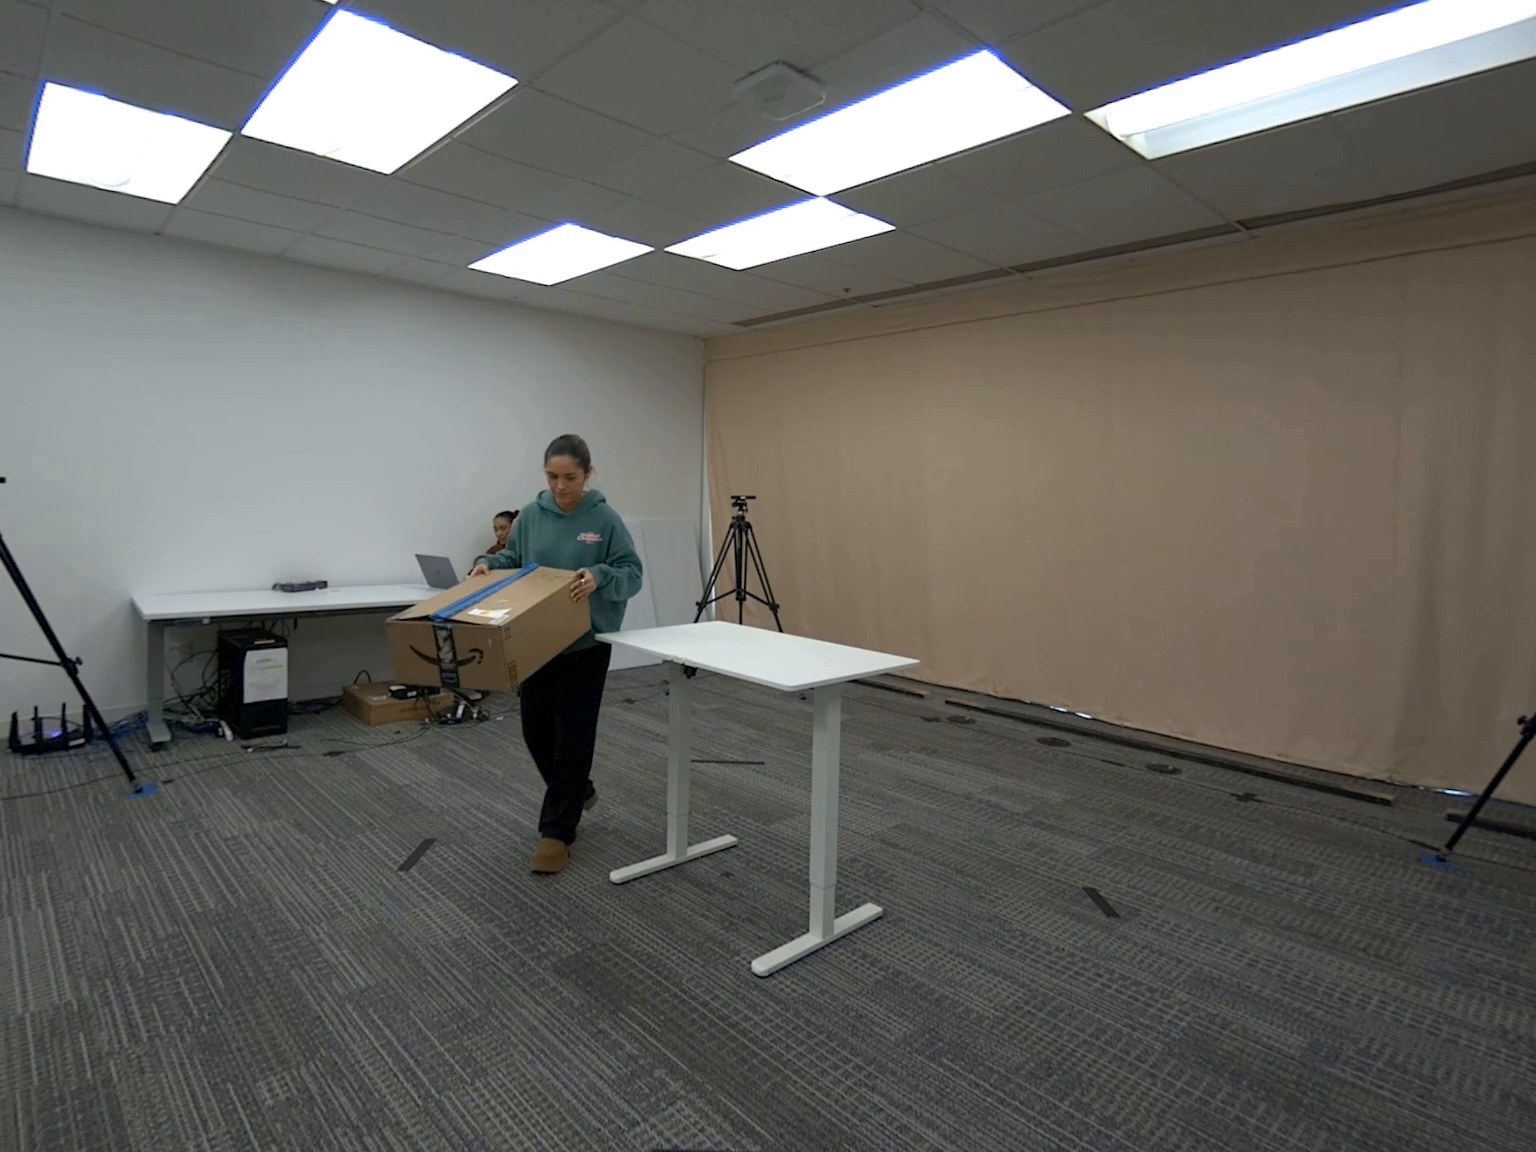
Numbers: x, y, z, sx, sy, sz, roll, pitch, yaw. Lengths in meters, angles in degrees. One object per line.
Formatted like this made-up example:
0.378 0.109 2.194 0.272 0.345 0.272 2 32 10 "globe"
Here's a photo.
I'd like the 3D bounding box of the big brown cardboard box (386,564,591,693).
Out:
-0.927 0.165 2.831 0.423 0.230 0.587 1 15 16 "big brown cardboard box"
